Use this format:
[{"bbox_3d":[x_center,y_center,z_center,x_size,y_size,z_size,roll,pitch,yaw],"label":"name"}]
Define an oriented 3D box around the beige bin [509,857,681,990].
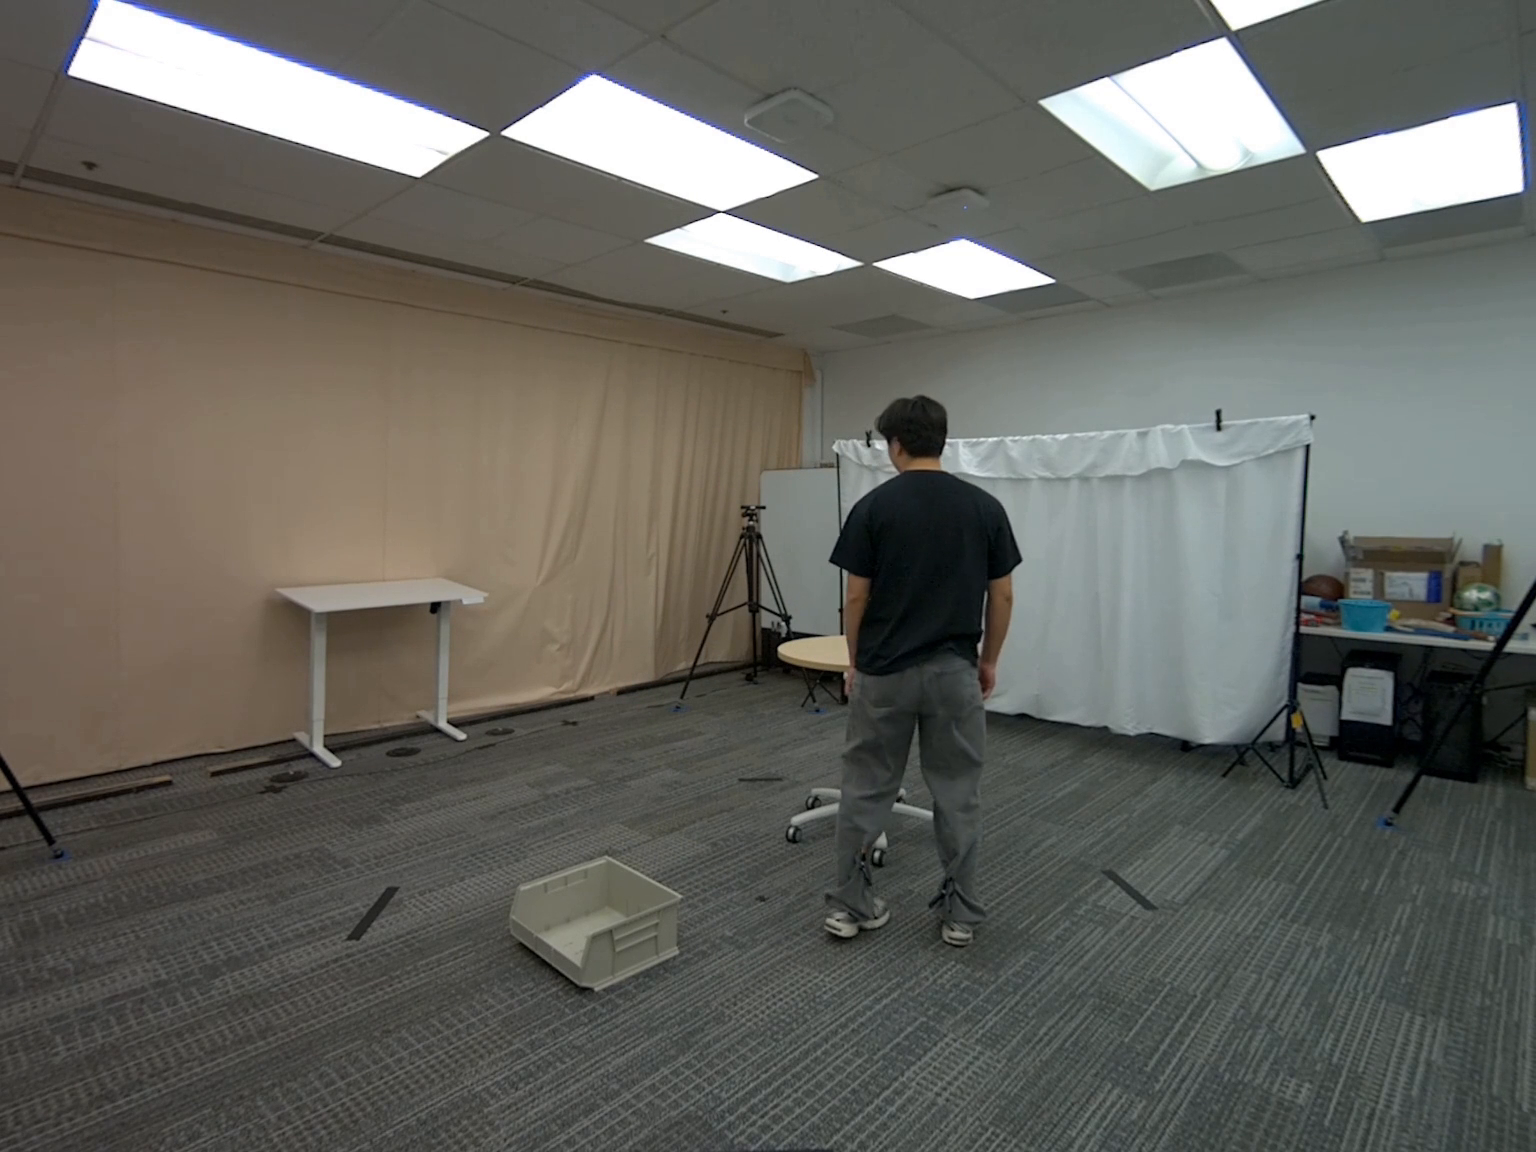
[{"bbox_3d":[-0.543,1.090,2.653,0.365,0.189,0.436,-3,4,-44],"label":"beige bin"}]
